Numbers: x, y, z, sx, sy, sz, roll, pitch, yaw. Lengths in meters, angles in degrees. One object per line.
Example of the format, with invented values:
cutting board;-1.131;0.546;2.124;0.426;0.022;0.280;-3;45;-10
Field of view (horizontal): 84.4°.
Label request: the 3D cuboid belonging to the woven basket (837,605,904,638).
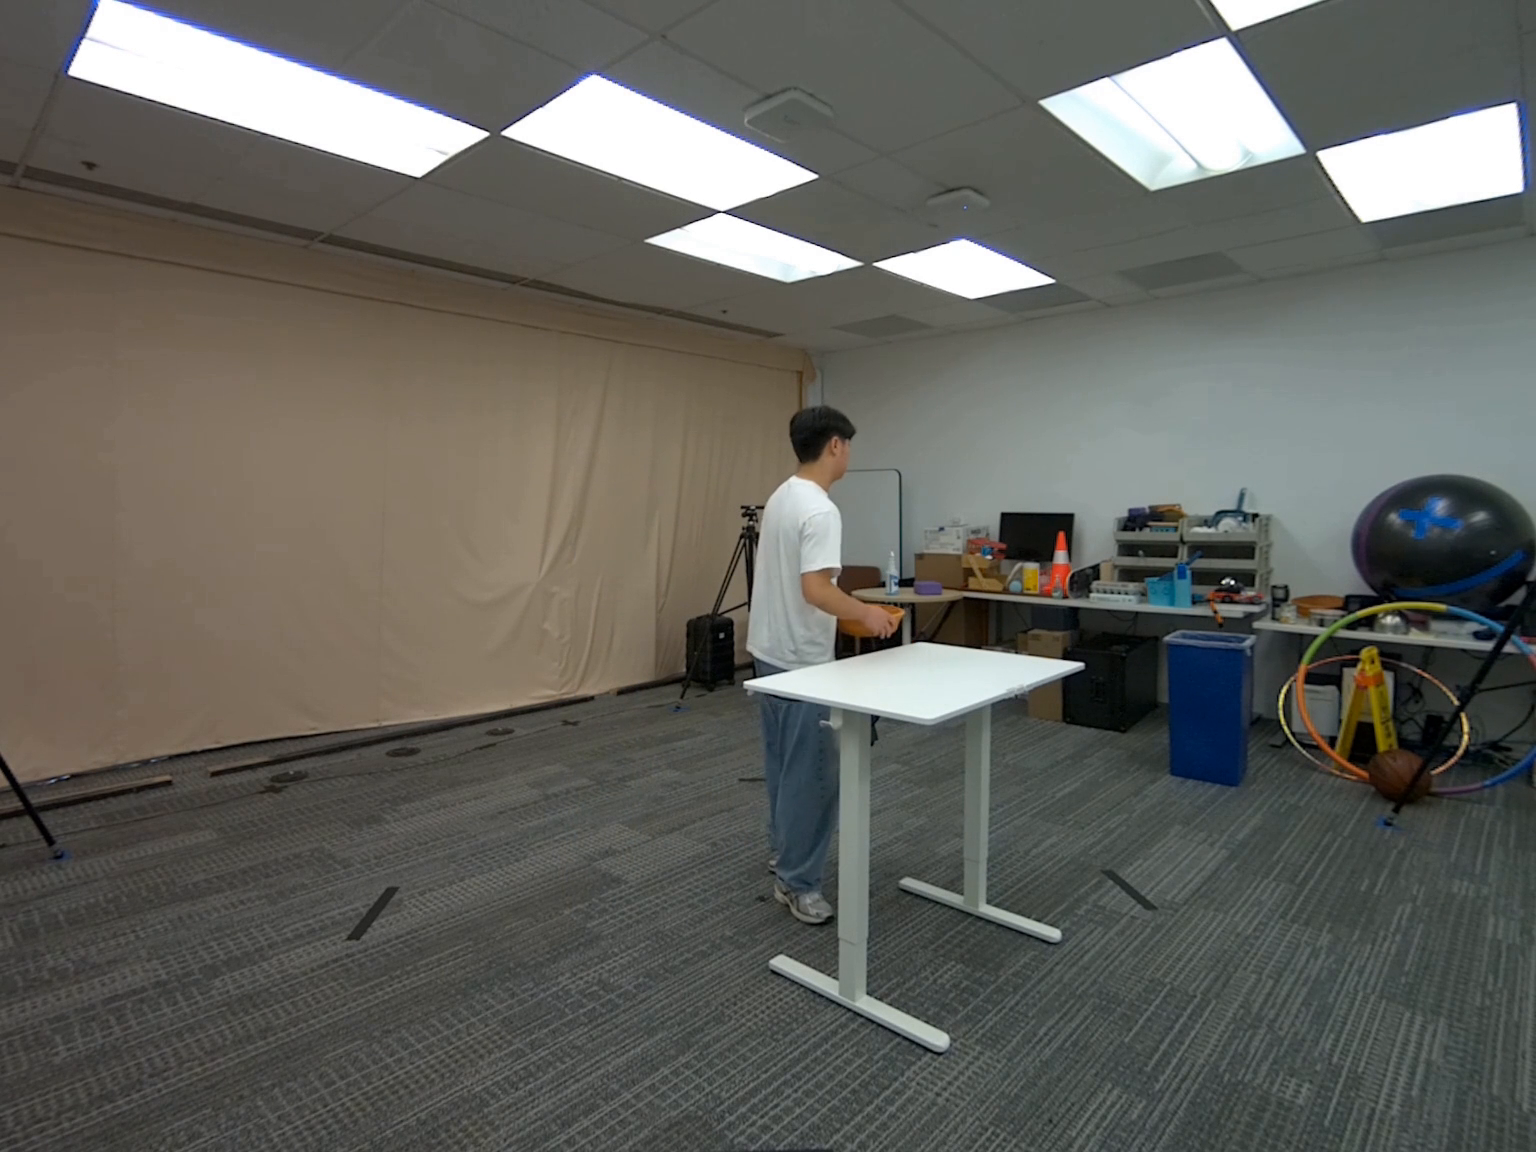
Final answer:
woven basket;0.361;0.169;3.090;0.248;0.073;0.358;-7;7;-19
